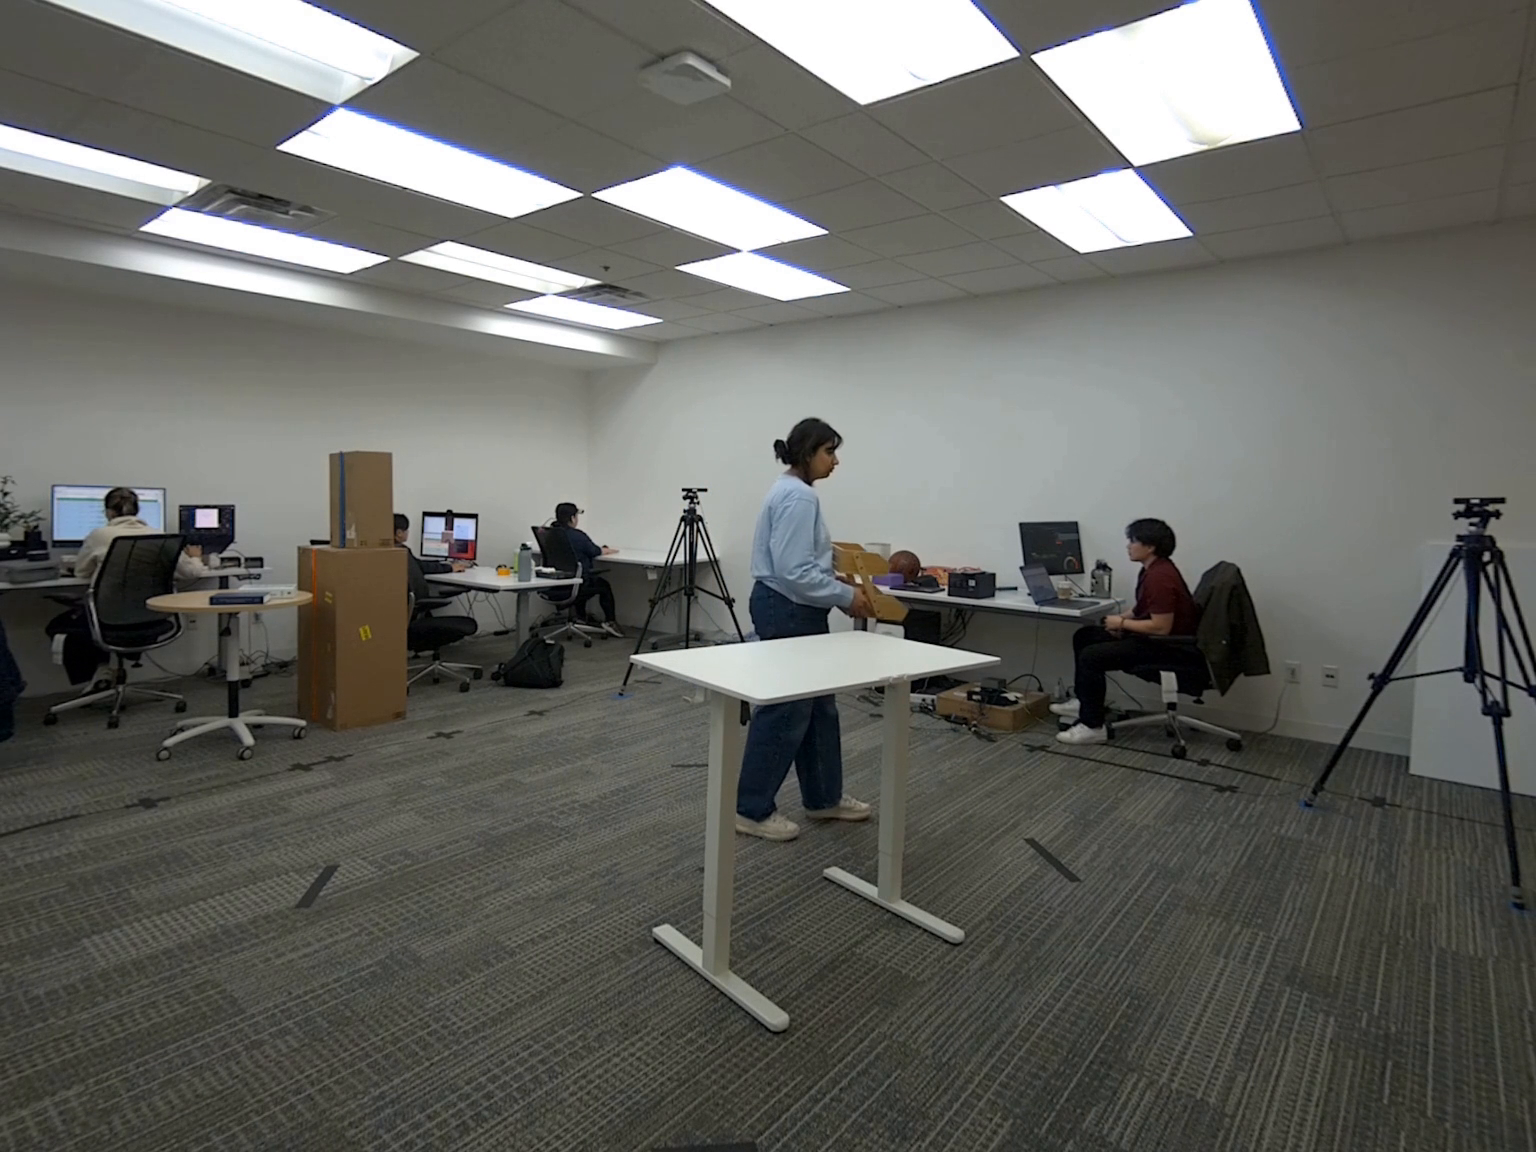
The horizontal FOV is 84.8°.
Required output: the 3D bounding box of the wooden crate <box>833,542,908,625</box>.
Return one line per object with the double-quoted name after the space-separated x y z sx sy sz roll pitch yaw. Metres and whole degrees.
0.399 0.010 3.515 0.300 0.272 0.329 4 7 -7 "wooden crate"
